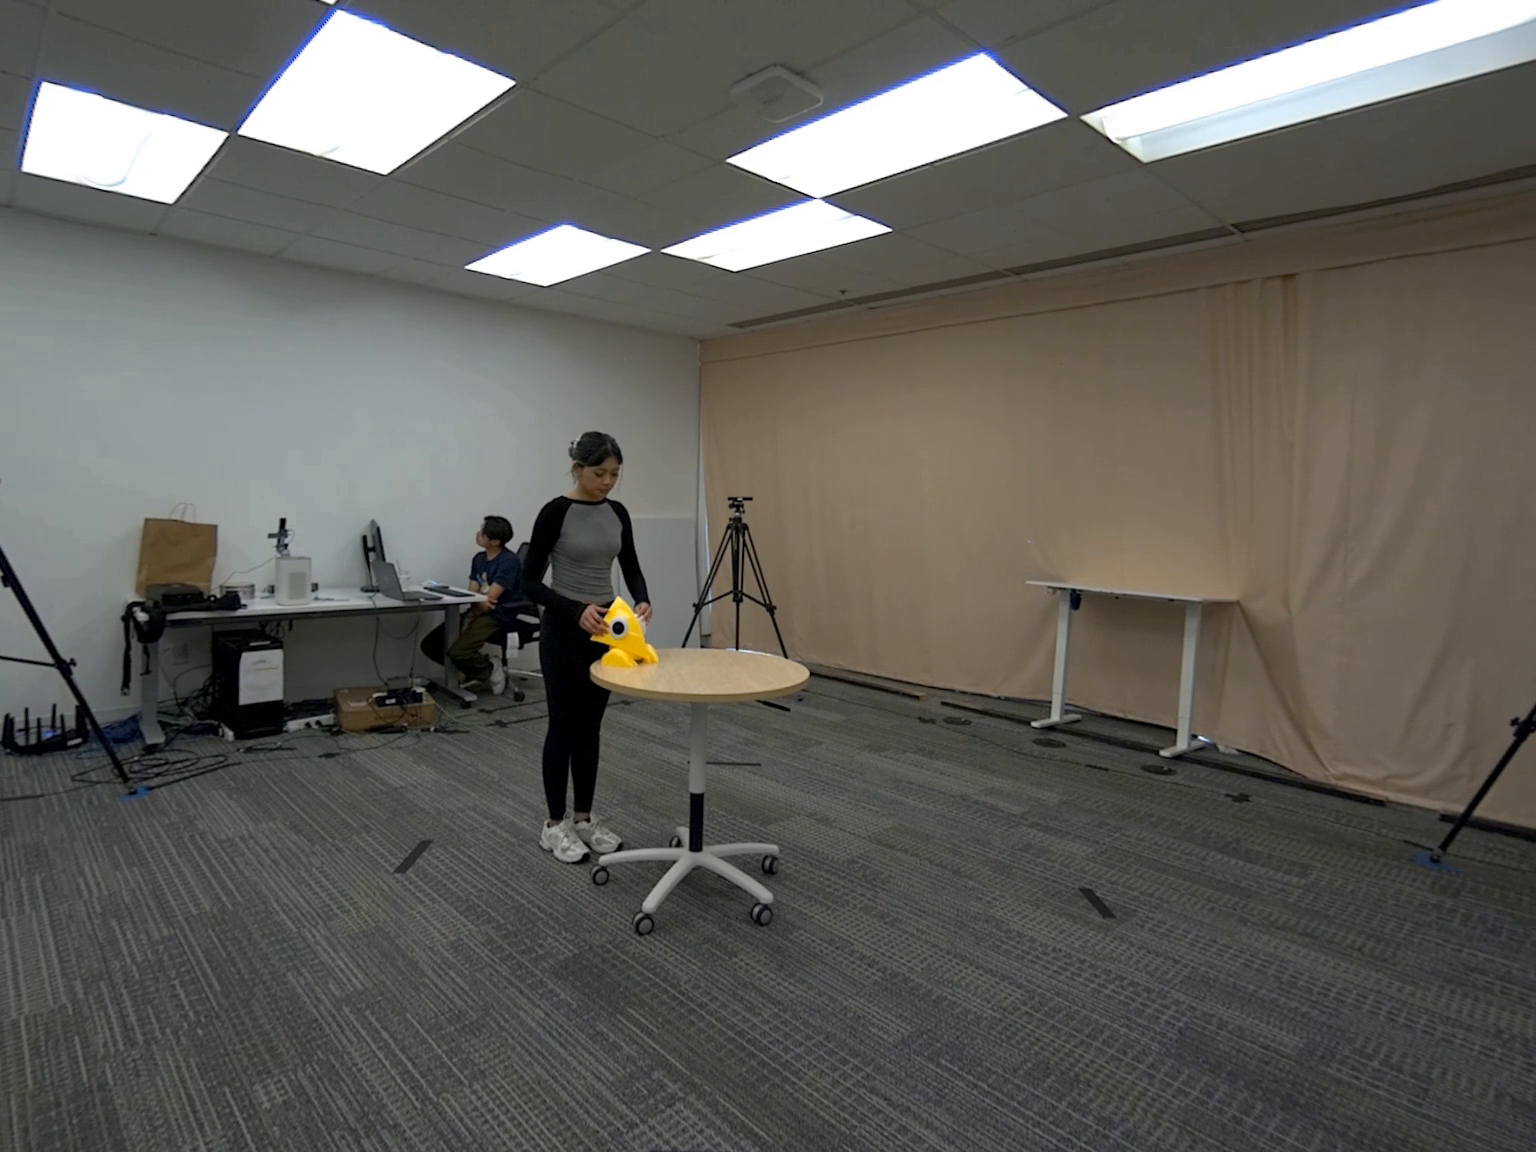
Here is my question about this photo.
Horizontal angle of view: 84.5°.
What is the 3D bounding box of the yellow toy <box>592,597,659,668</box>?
[{"bbox_3d":[-0.511,0.197,3.029,0.198,0.230,0.200,6,5,37],"label":"yellow toy"}]
